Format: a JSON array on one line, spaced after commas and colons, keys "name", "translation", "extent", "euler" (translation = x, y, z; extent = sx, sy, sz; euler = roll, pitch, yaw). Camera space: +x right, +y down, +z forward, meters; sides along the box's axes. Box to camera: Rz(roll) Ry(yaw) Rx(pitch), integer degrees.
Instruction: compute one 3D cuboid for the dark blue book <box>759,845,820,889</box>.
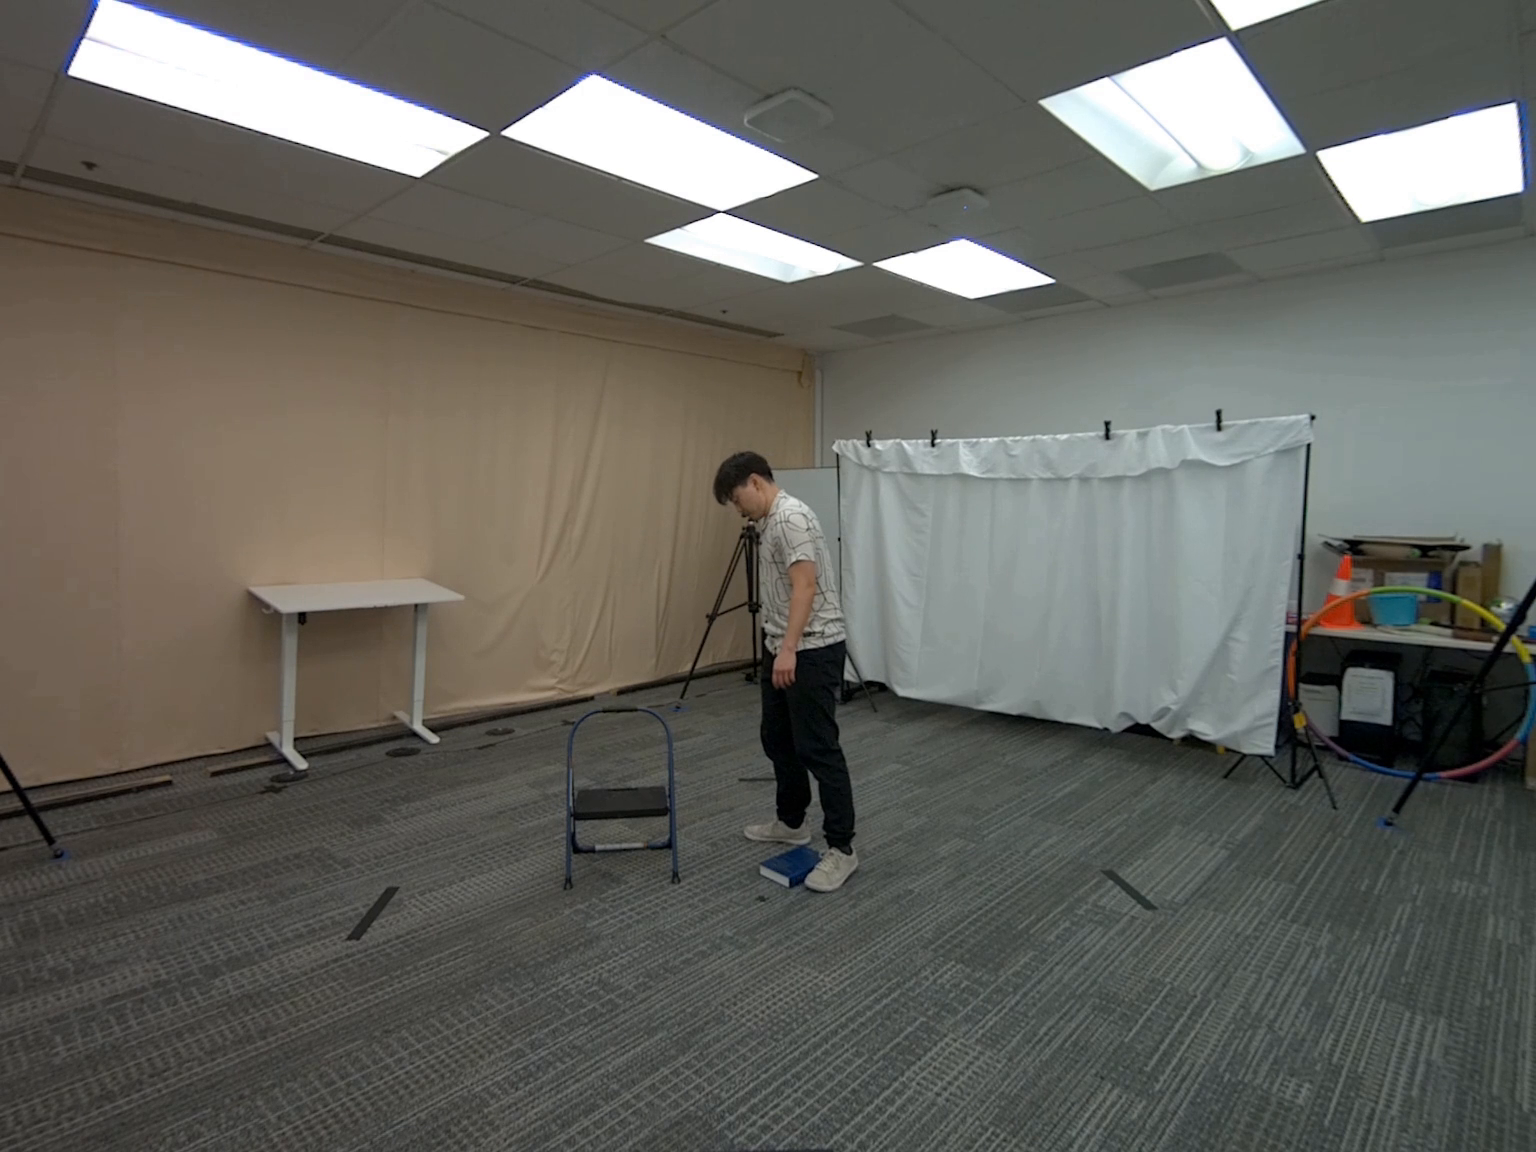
[{"name": "dark blue book", "translation": [0.105, 1.099, 3.198], "extent": [0.238, 0.045, 0.169], "euler": [-6, 8, -42]}]
